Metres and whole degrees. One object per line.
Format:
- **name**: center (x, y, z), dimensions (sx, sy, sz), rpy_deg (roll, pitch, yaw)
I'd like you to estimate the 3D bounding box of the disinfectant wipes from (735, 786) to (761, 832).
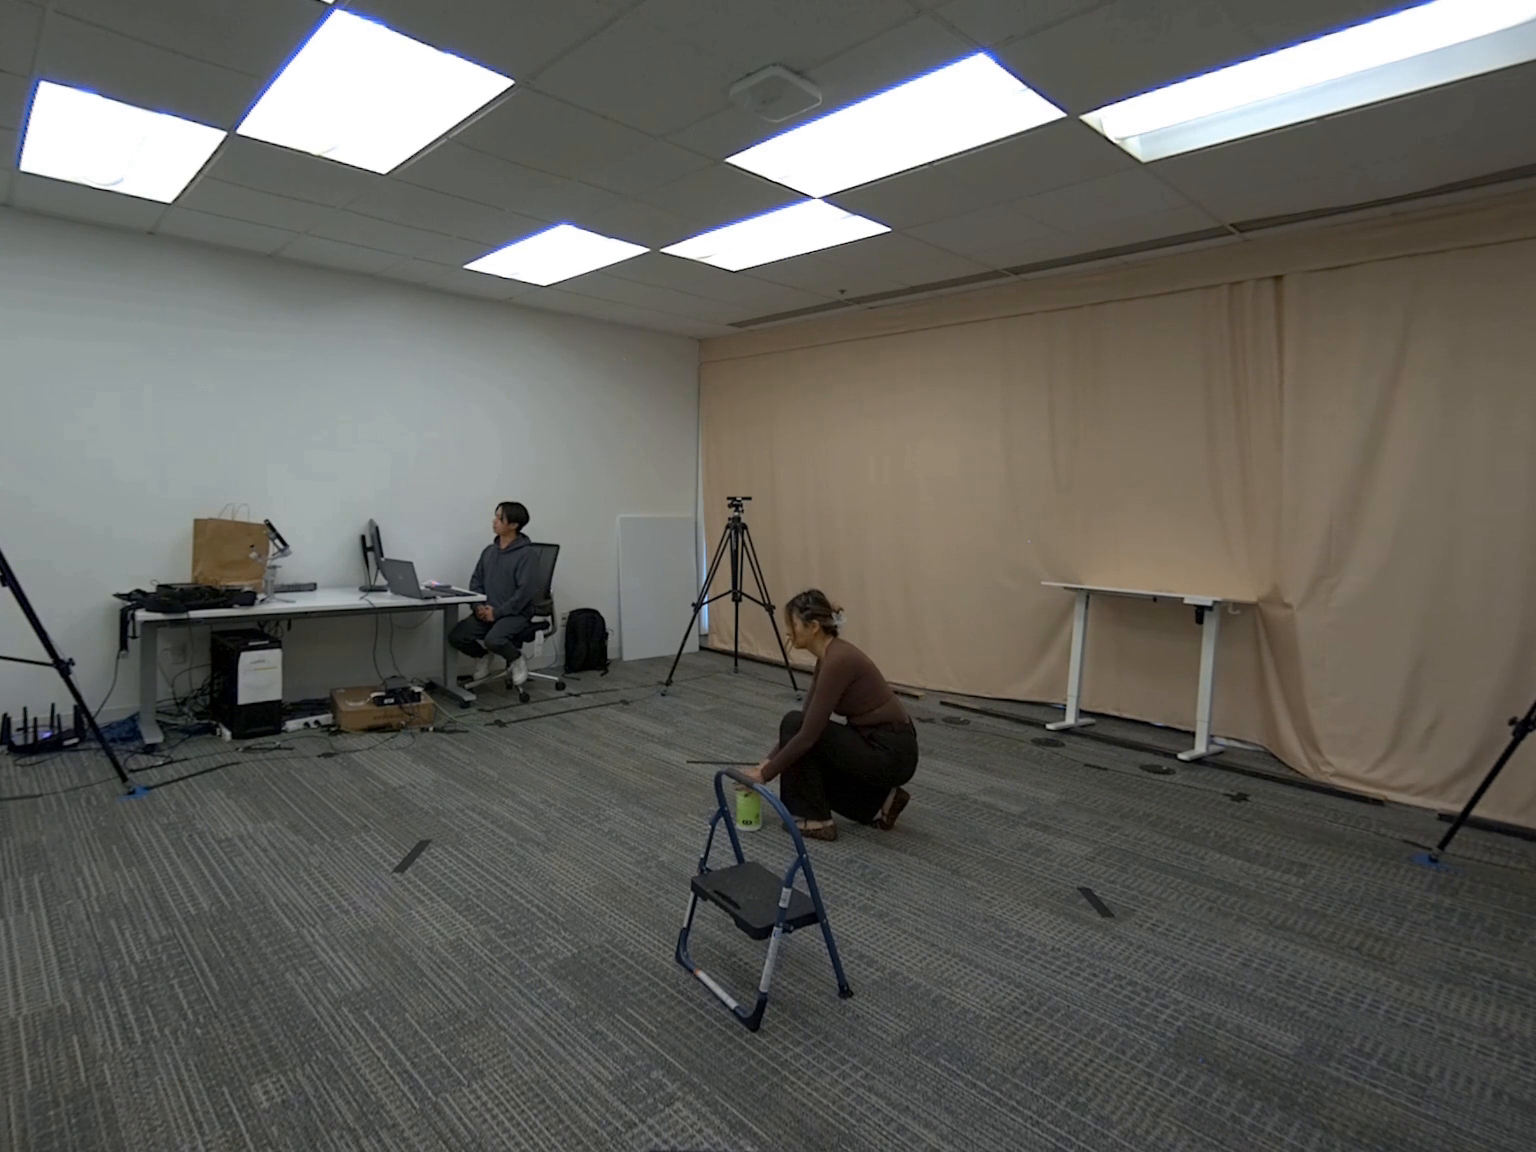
- **disinfectant wipes**: center (-0.094, 0.957, 3.582), dimensions (0.118, 0.216, 0.118), rpy_deg (-1, 5, -1)
